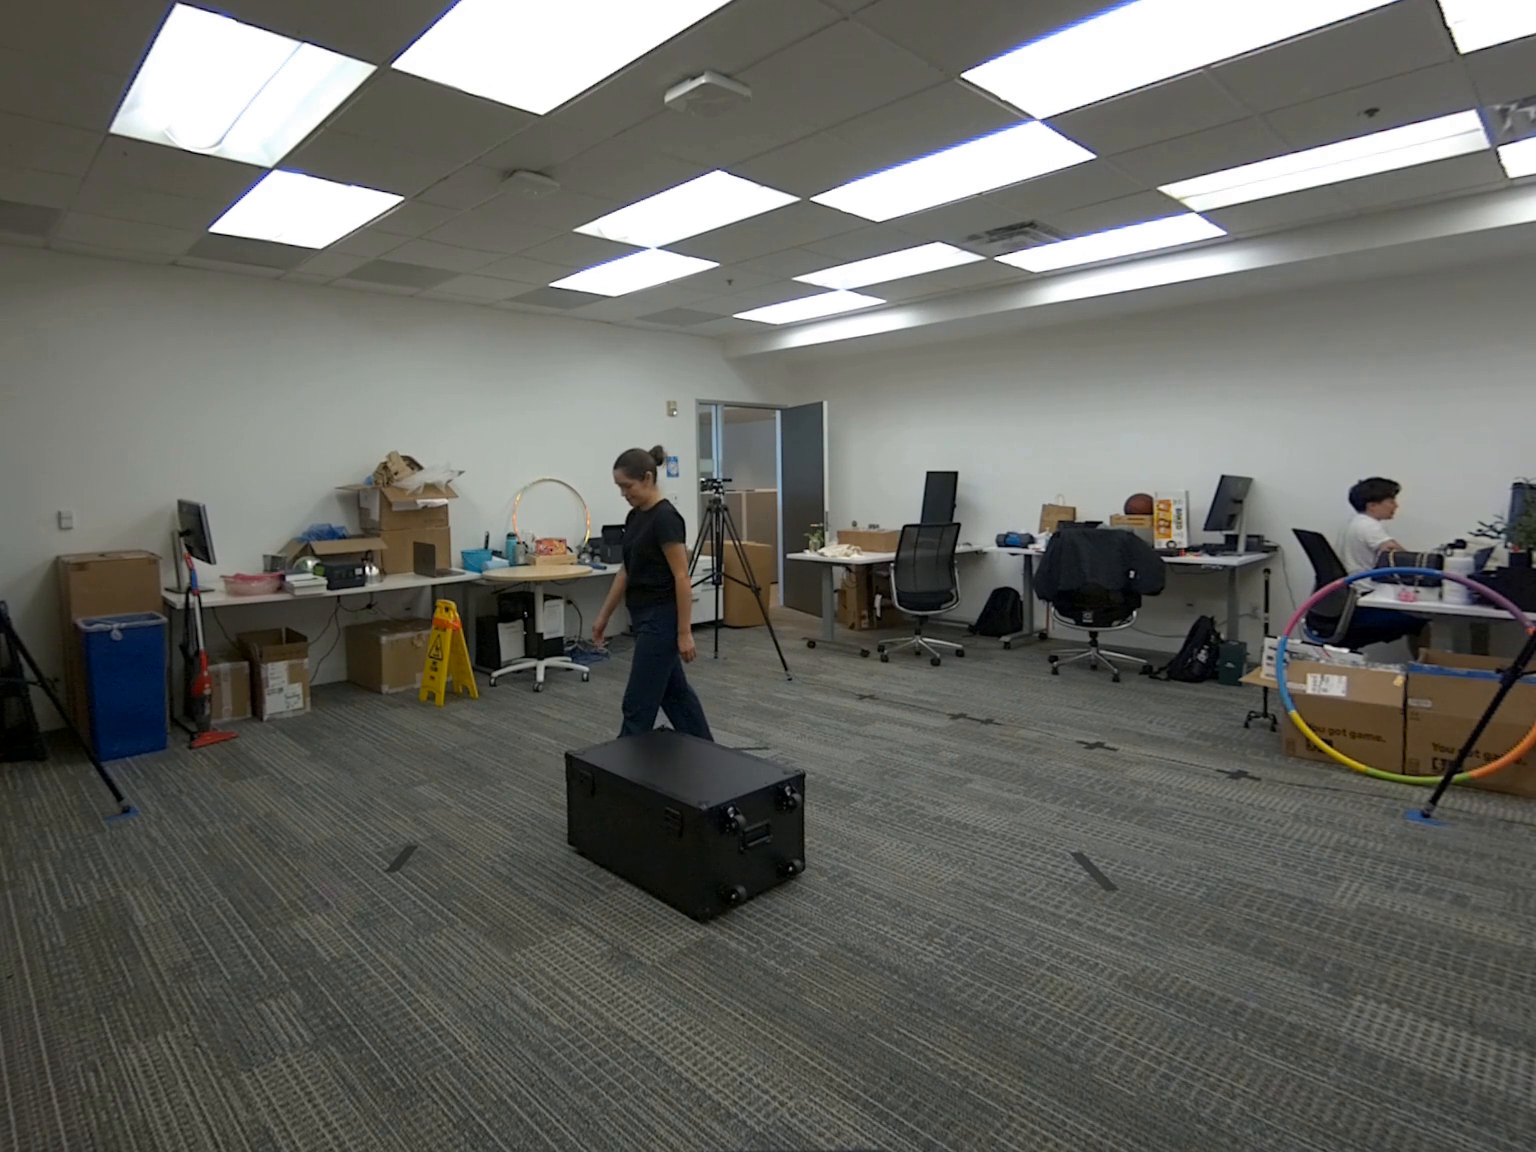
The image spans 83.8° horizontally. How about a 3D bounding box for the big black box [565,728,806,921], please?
[{"bbox_3d":[-0.297,0.860,3.093,0.888,0.395,0.508,4,8,45],"label":"big black box"}]
